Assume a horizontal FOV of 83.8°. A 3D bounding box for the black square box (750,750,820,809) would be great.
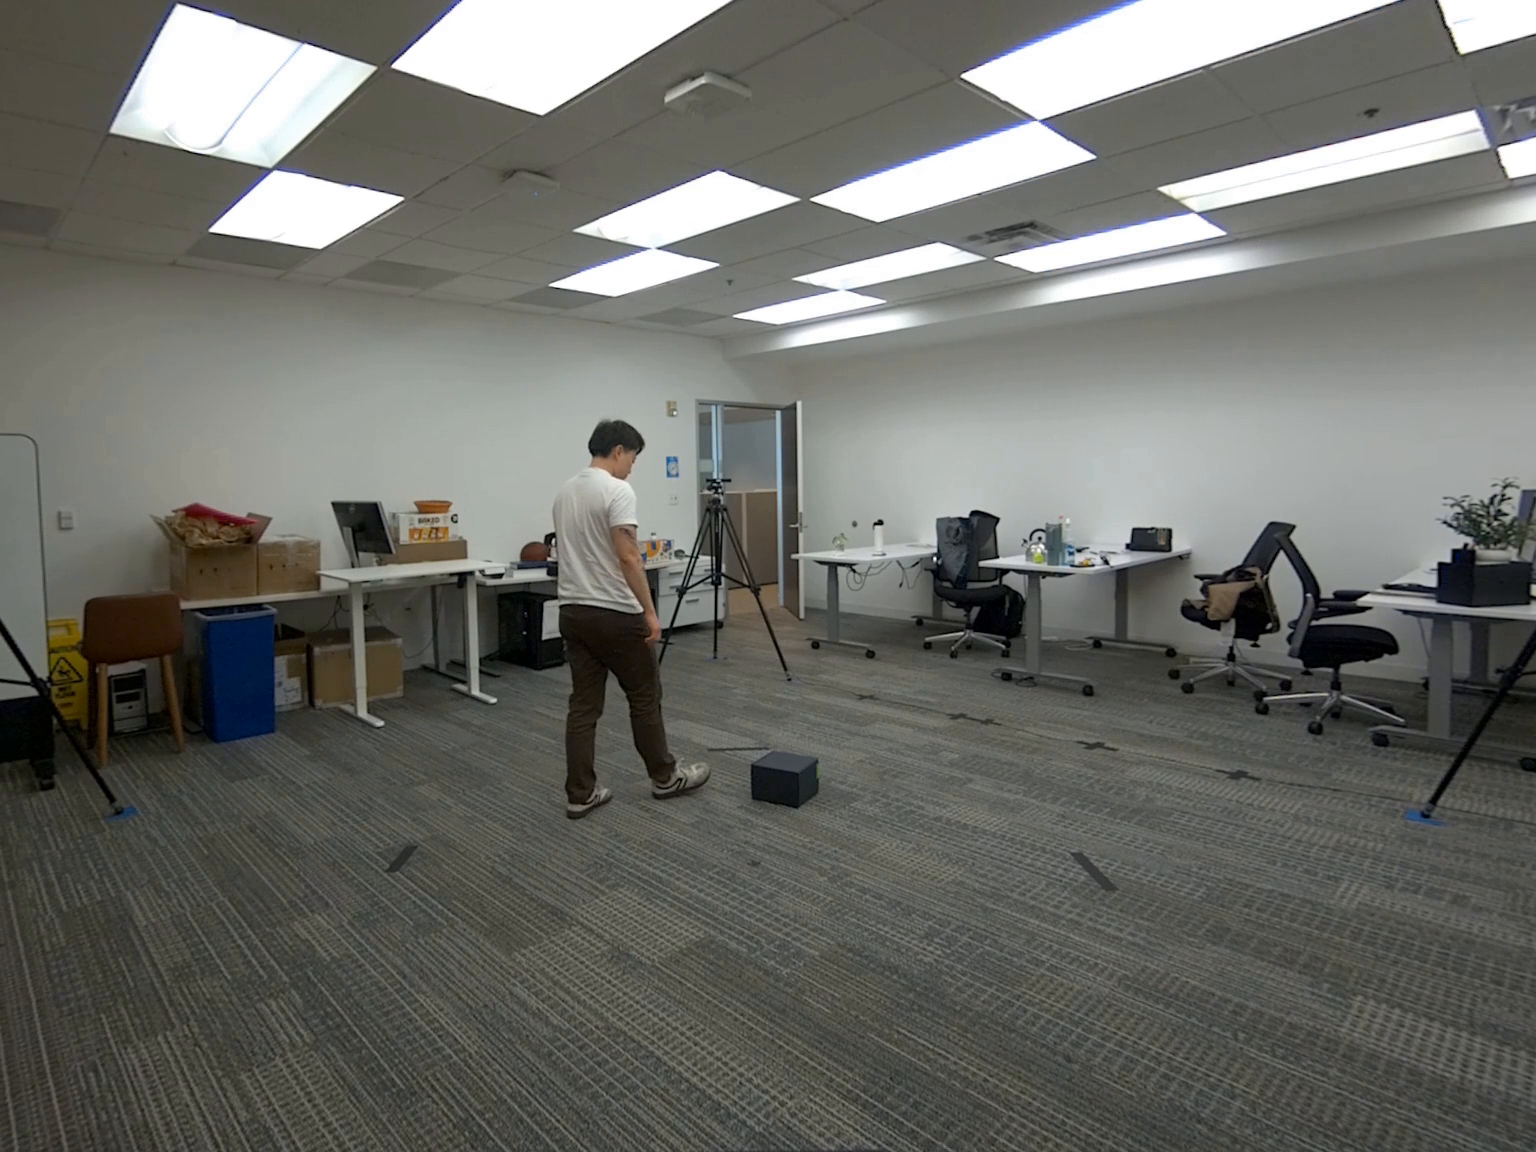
[{"bbox_3d":[0.077,0.884,3.749,0.234,0.155,0.212,3,6,28],"label":"black square box"}]
